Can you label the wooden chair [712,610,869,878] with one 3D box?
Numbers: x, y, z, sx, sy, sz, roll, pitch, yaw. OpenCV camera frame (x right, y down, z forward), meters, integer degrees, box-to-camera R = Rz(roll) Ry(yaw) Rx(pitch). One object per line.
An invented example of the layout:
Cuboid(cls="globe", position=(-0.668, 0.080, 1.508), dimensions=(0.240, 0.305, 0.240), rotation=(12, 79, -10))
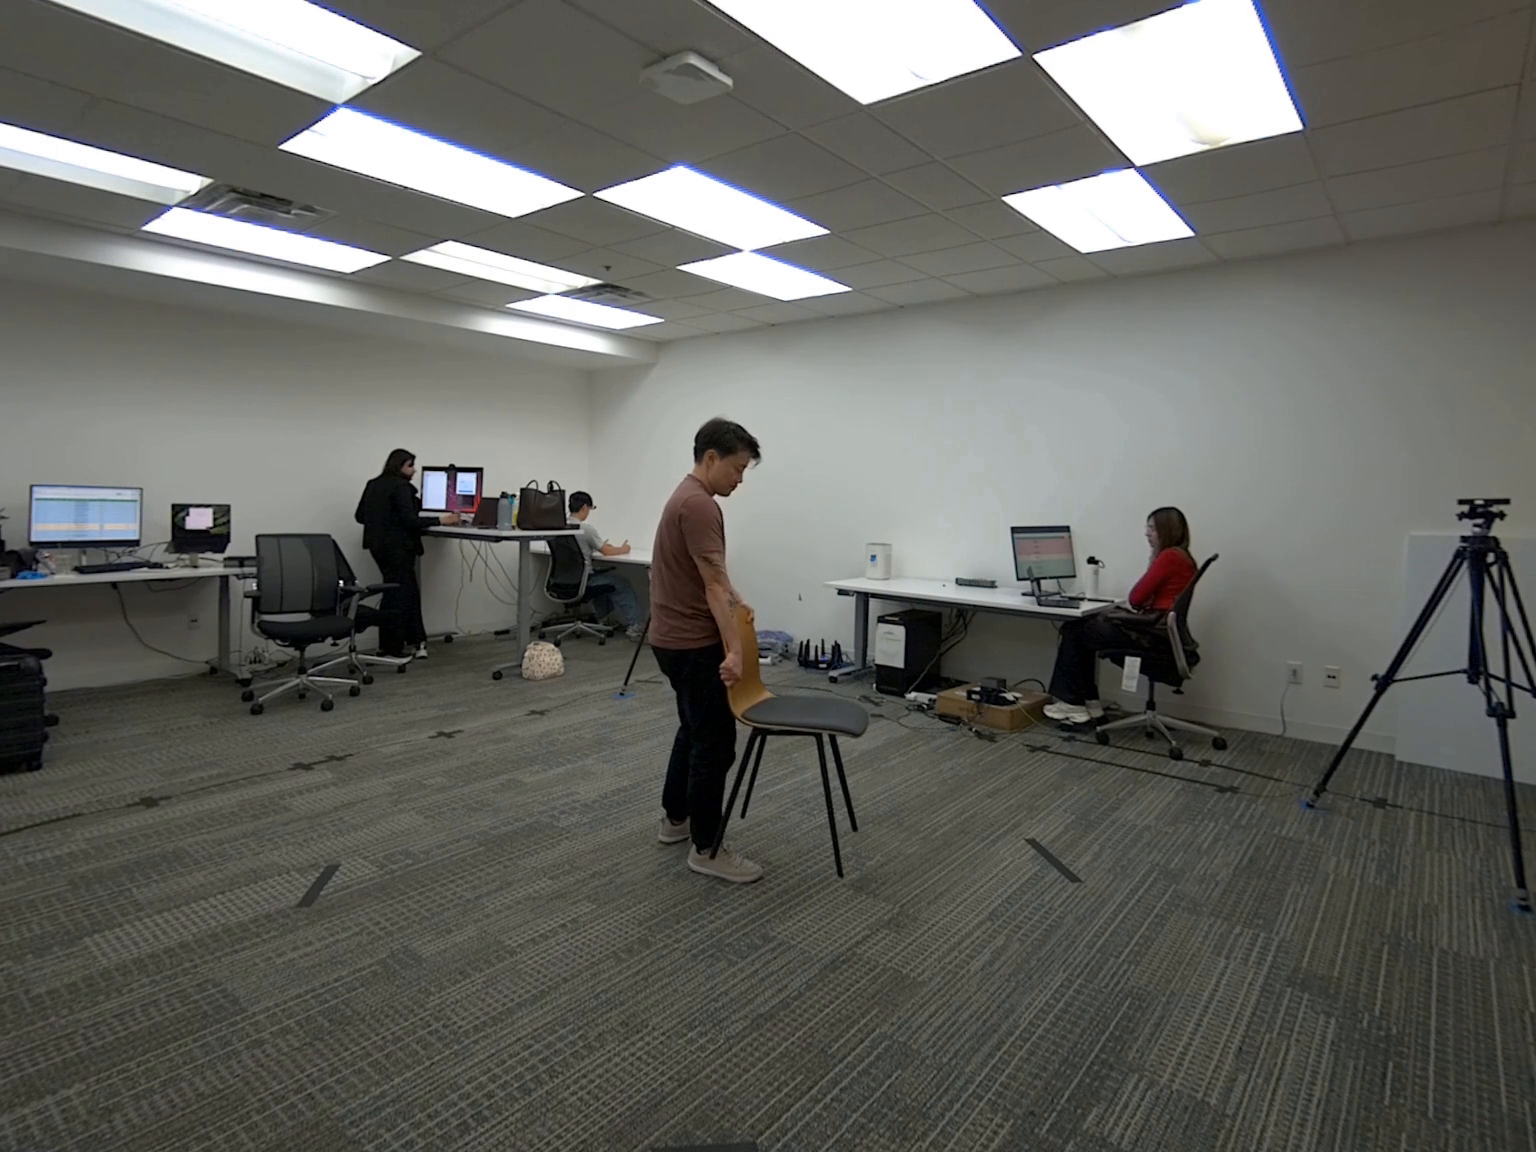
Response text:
Cuboid(cls="wooden chair", position=(0.087, 0.535, 3.043), dimensions=(0.531, 0.878, 0.470), rotation=(-3, -1, 15))
